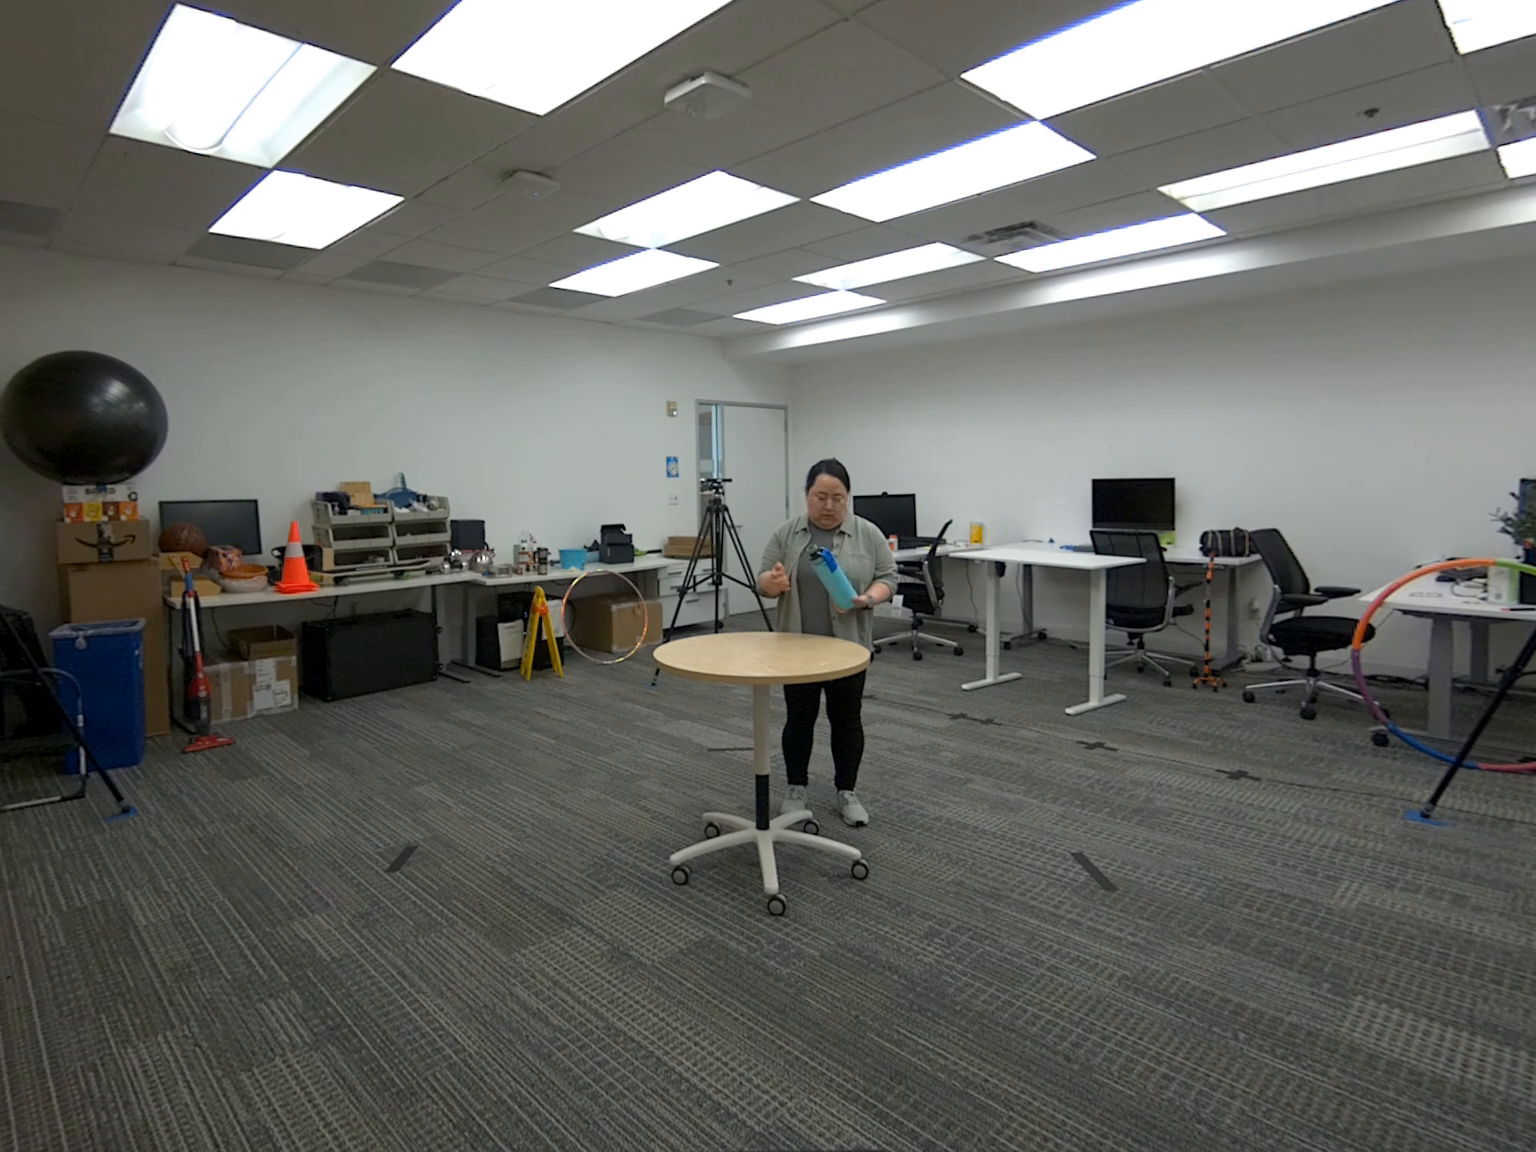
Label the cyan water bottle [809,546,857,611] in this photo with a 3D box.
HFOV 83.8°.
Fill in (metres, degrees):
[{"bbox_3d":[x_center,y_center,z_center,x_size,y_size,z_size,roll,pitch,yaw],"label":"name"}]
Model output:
[{"bbox_3d":[0.238,0.004,3.249,0.093,0.275,0.094,-27,24,12],"label":"cyan water bottle"}]
